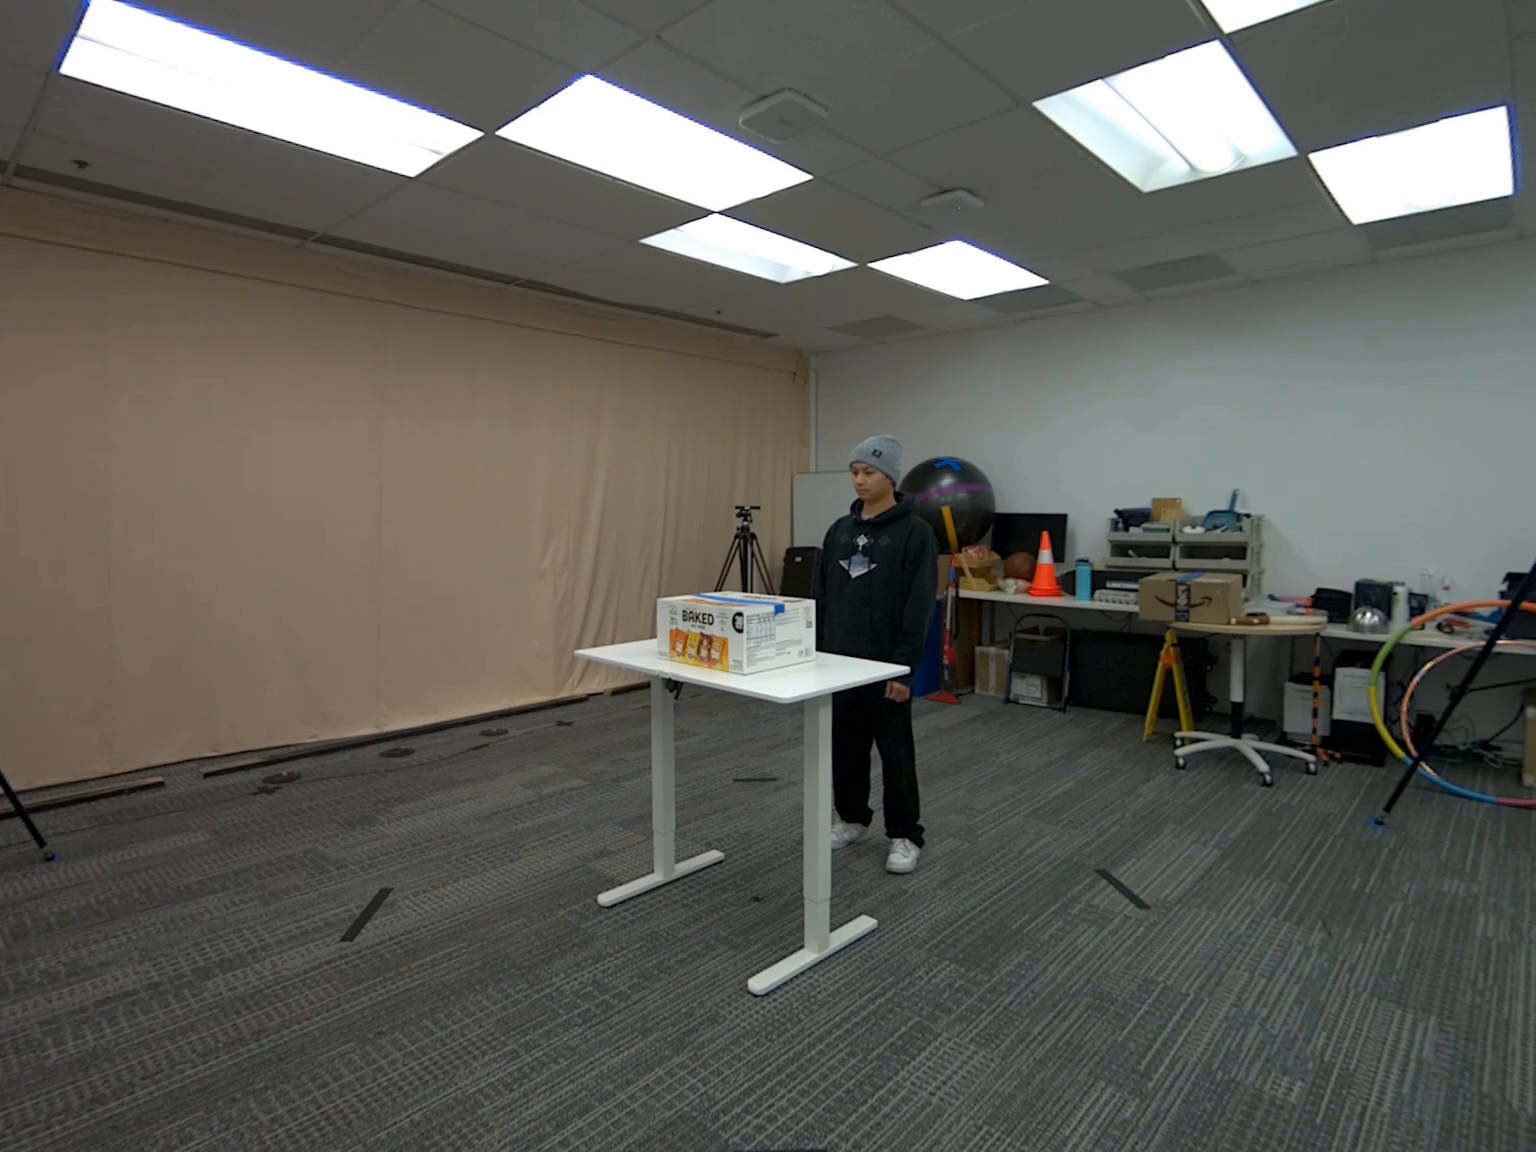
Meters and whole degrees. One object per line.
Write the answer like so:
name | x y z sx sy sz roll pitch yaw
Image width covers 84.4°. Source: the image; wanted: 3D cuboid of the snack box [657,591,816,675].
snack box | -0.106 0.179 2.794 0.419 0.205 0.330 4 7 43
